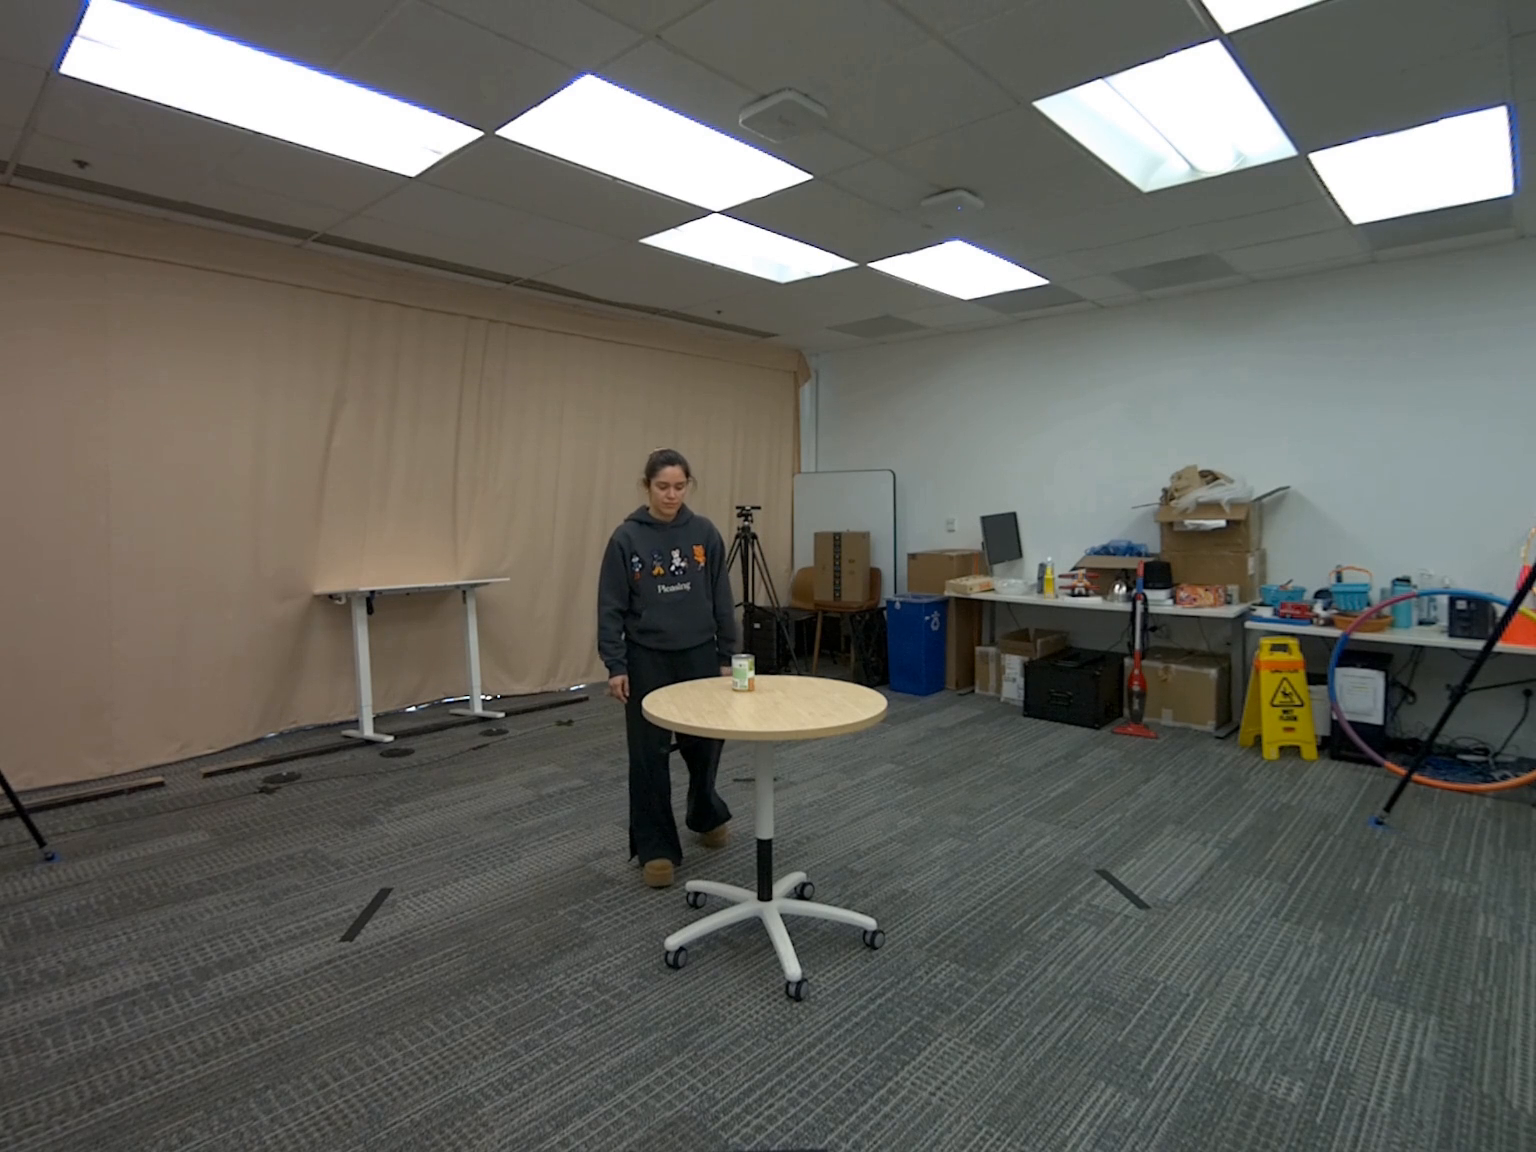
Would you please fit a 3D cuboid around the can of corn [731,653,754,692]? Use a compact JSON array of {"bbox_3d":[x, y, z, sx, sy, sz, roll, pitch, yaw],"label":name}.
[{"bbox_3d":[-0.068,0.323,2.788,0.074,0.110,0.074,-2,6,-2],"label":"can of corn"}]
